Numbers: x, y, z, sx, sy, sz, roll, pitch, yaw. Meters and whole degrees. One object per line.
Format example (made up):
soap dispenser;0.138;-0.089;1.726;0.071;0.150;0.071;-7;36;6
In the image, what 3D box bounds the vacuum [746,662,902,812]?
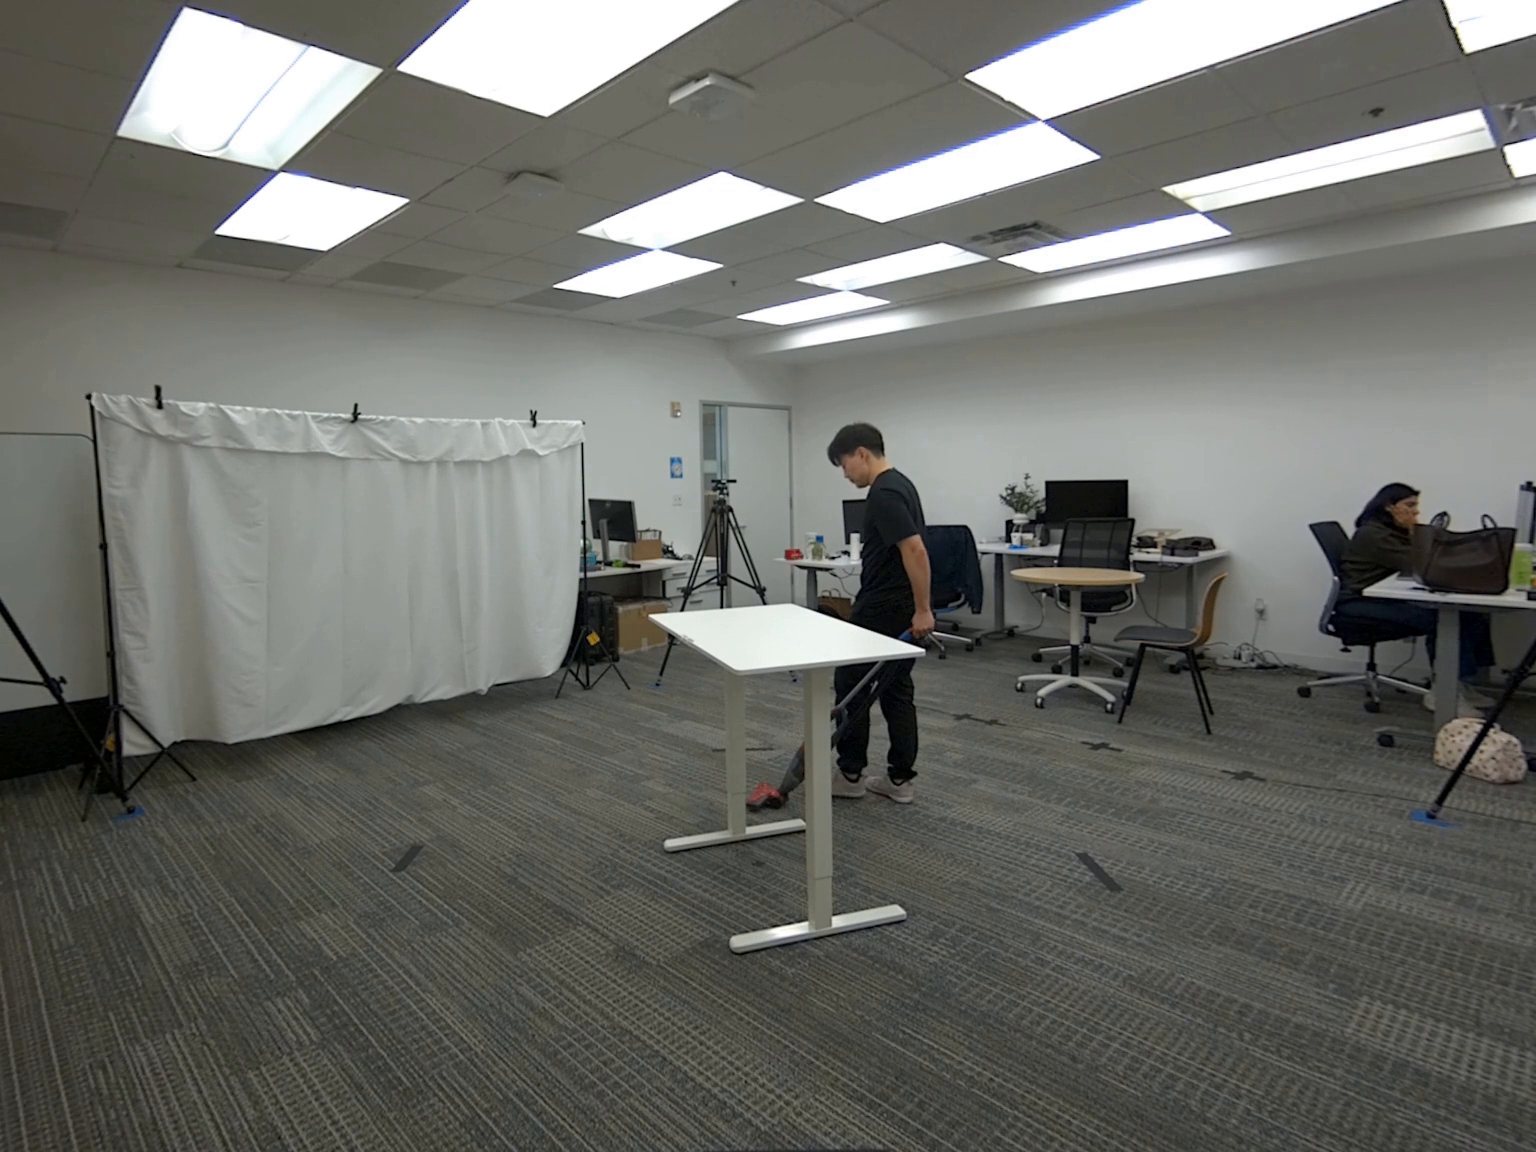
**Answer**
vacuum;0.315;0.591;3.574;0.146;1.048;0.249;44;14;8
